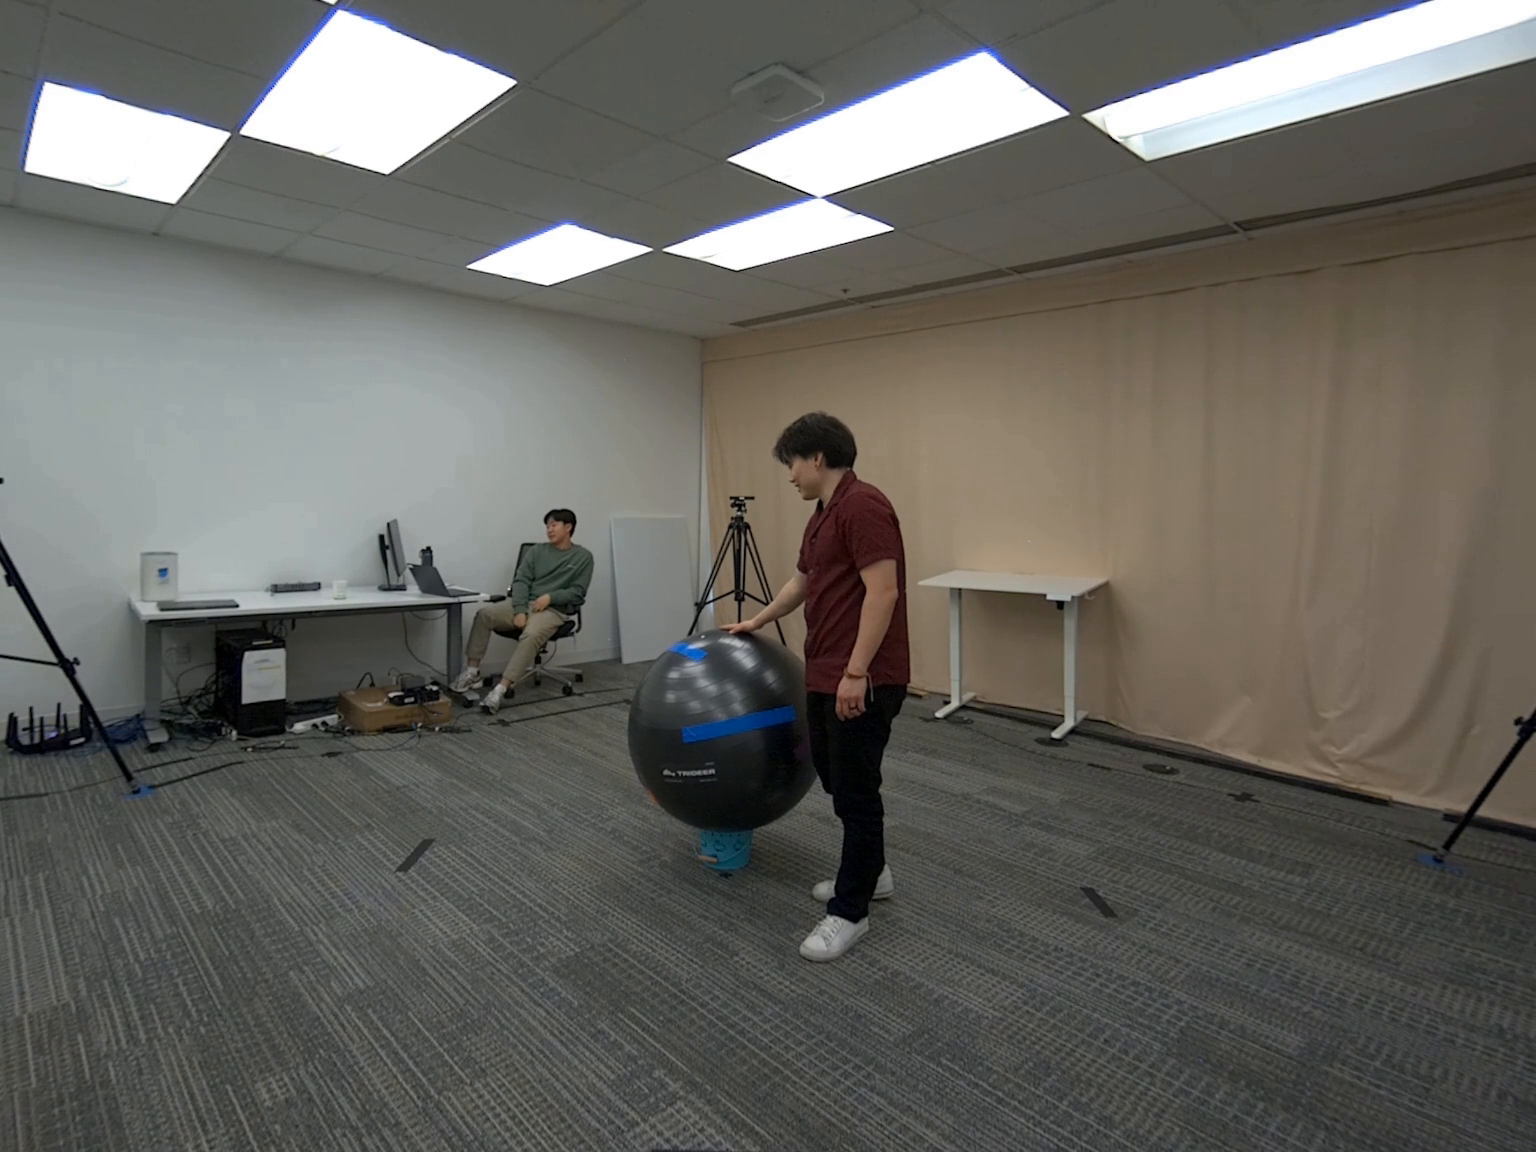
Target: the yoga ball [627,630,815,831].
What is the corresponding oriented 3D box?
[{"bbox_3d":[-0.162,0.585,3.209,0.757,0.756,0.761,1,4,-1],"label":"yoga ball"}]
